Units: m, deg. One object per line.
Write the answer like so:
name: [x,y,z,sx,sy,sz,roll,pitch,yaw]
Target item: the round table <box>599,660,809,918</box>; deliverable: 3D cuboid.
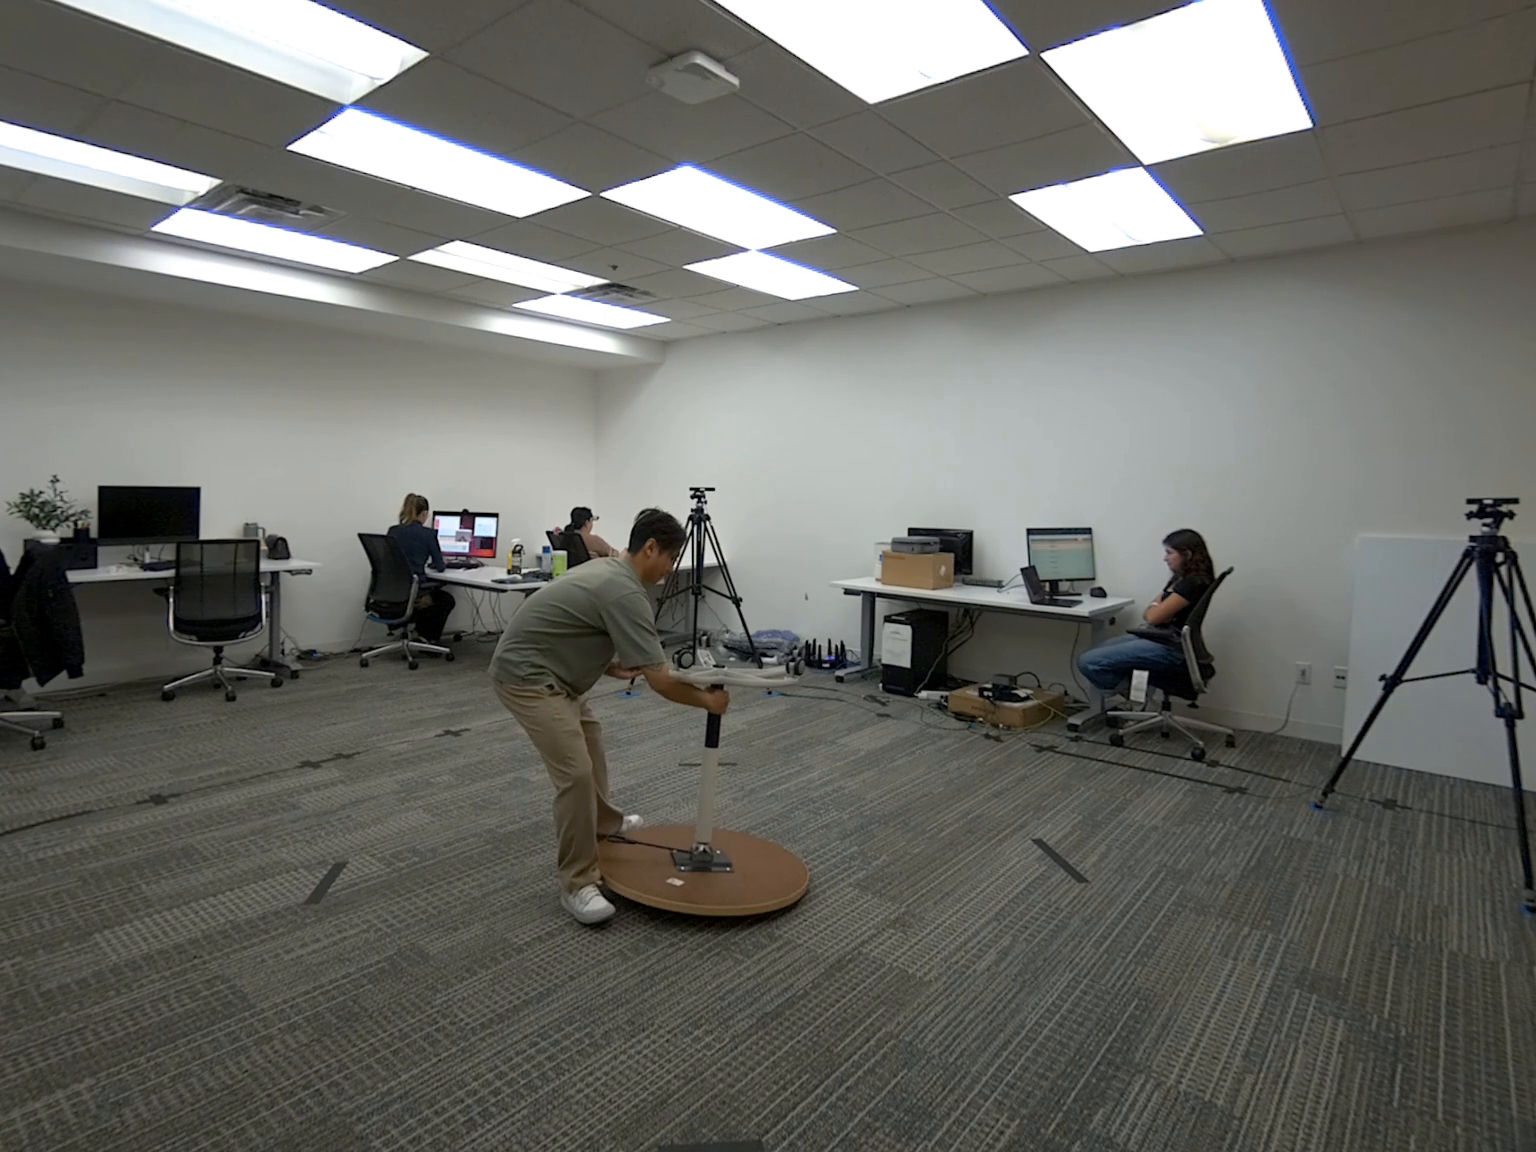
round table: [-0.207,0.642,3.019,0.784,0.787,0.786,4,0,-2]
